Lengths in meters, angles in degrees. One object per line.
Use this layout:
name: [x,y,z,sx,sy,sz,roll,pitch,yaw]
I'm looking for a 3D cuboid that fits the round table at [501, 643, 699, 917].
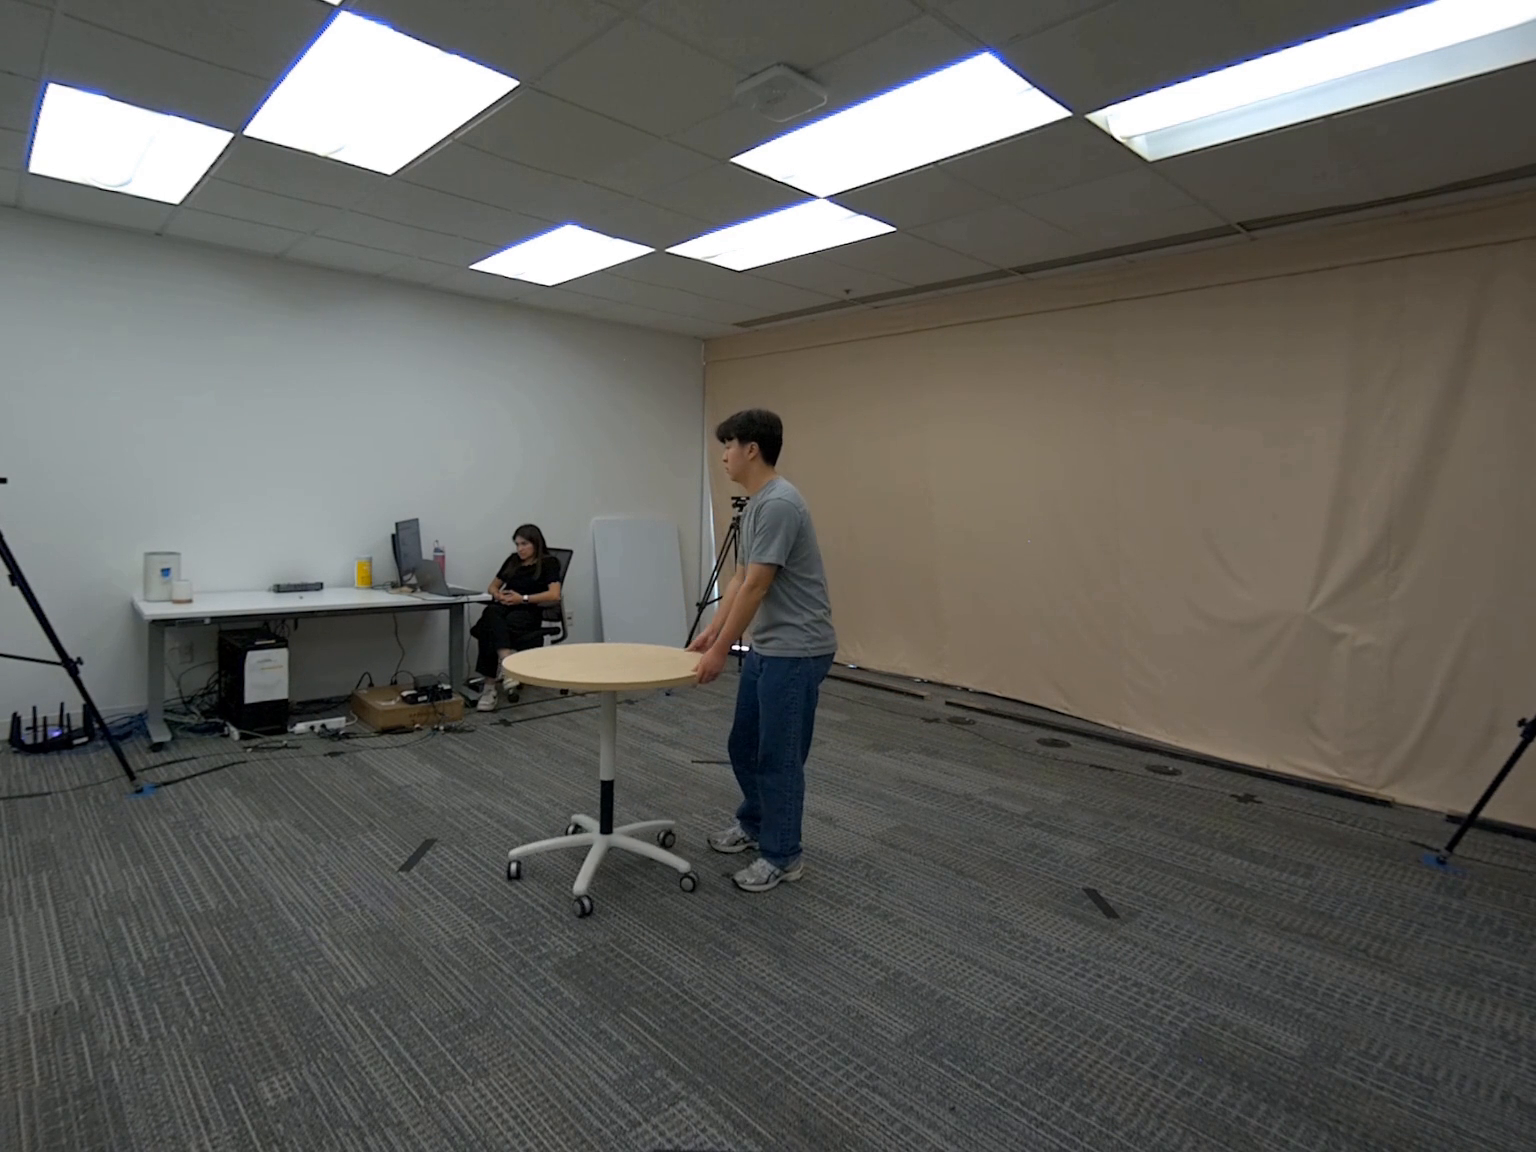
round table: [-0.588,0.703,3.111,0.763,0.792,0.766,1,4,-1]
